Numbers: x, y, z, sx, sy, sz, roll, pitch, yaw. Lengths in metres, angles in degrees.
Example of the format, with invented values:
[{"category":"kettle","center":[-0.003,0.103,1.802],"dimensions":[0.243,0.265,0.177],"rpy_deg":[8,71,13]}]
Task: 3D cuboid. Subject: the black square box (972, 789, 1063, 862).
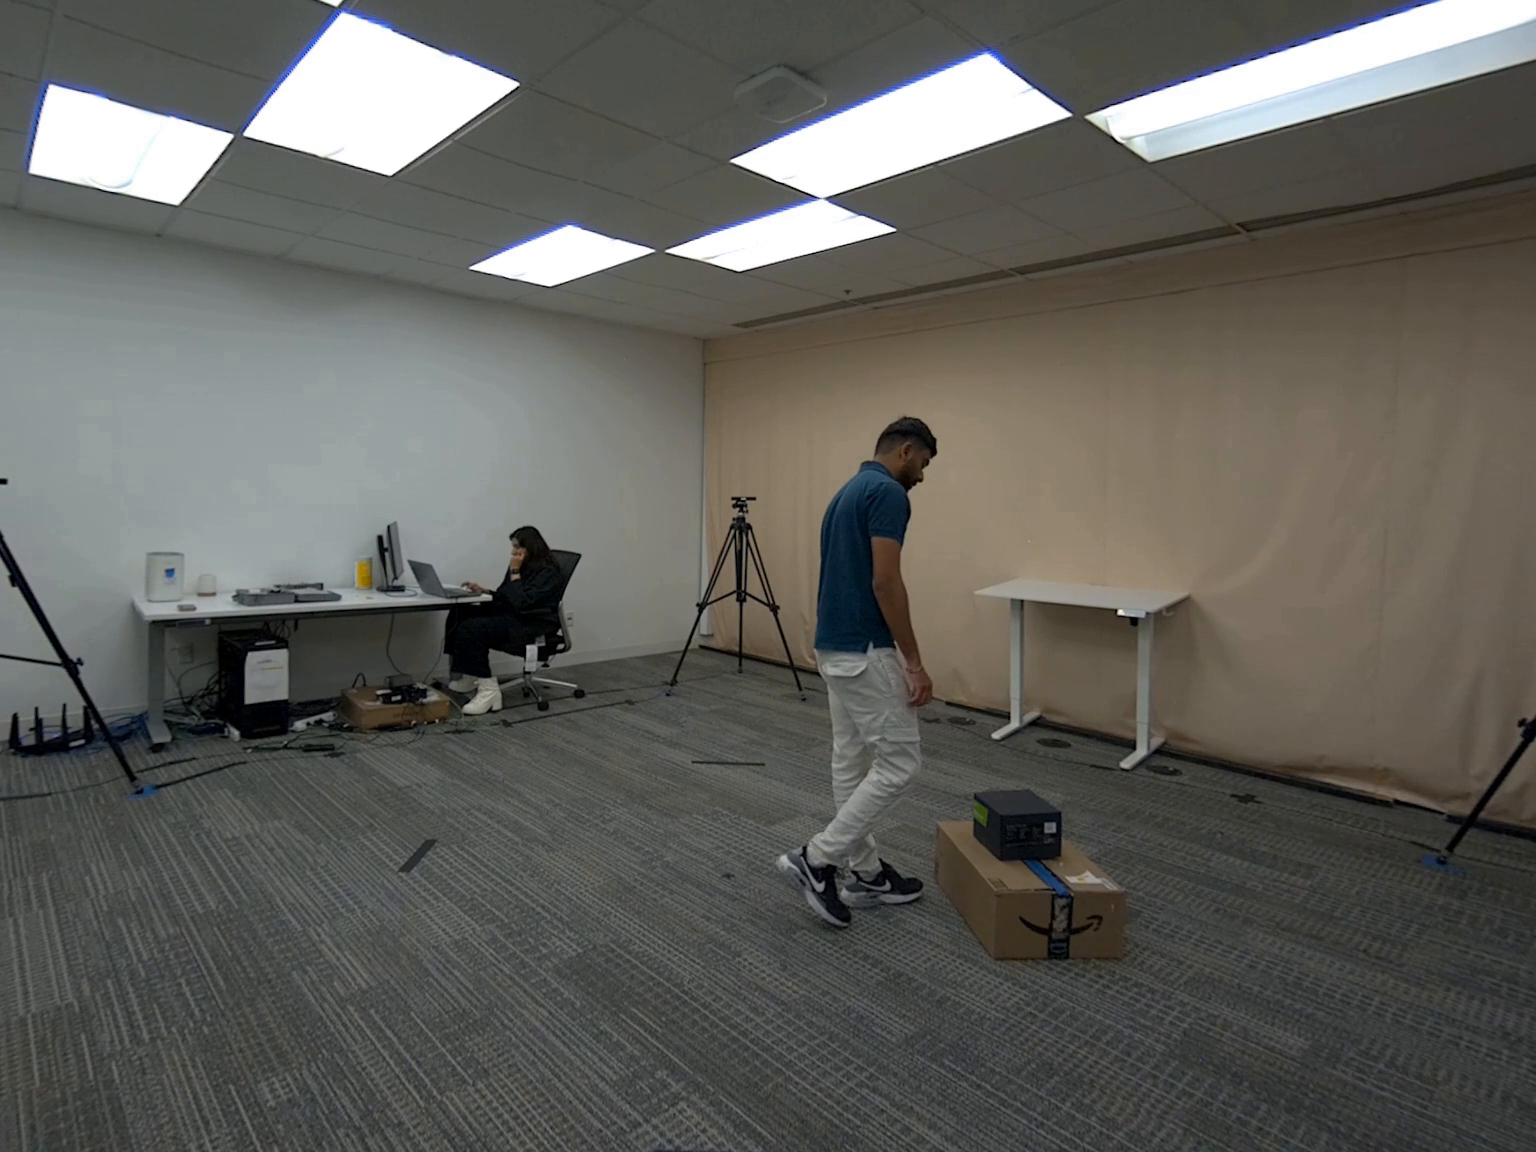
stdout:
[{"category":"black square box","center":[0.844,0.849,2.902],"dimensions":[0.215,0.155,0.230],"rpy_deg":[-1,4,-9]}]
